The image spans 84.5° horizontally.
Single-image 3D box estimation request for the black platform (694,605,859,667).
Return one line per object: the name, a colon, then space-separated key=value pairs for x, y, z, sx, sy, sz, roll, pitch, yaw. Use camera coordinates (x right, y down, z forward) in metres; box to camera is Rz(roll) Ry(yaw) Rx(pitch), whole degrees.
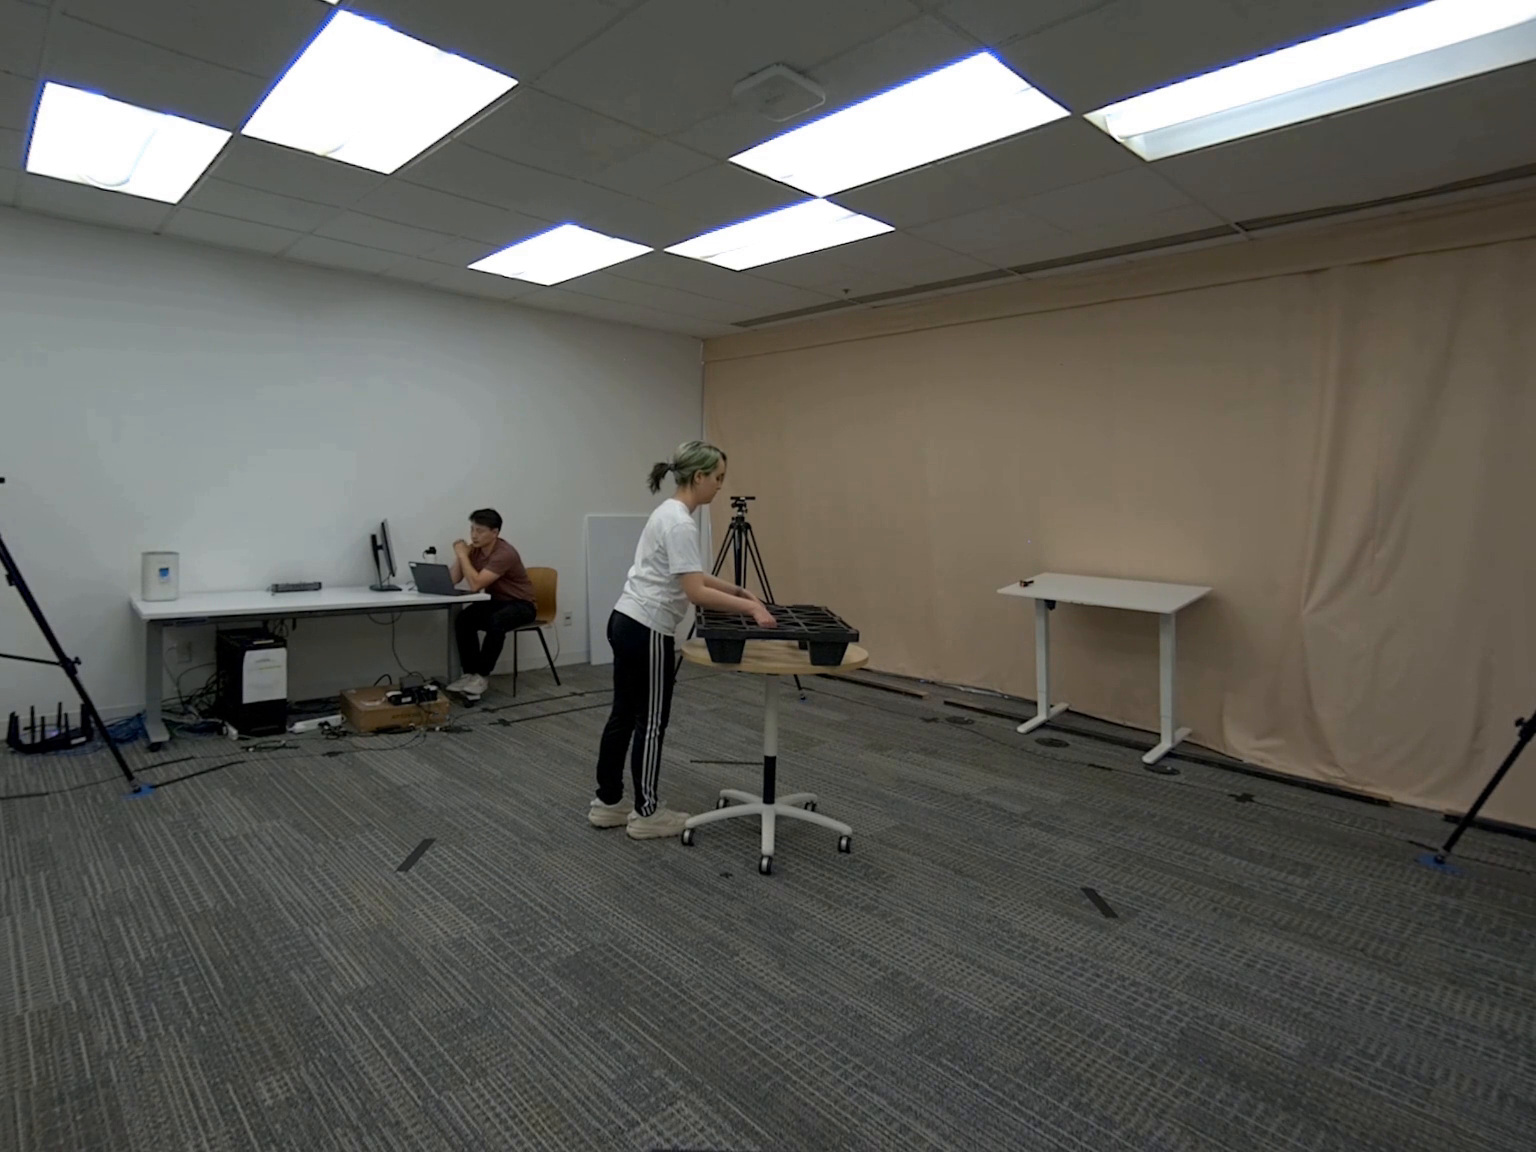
black platform: x=0.001 y=0.232 z=3.449 sx=0.603 sy=0.143 sz=0.810 roll=2 pitch=5 yaw=-4
